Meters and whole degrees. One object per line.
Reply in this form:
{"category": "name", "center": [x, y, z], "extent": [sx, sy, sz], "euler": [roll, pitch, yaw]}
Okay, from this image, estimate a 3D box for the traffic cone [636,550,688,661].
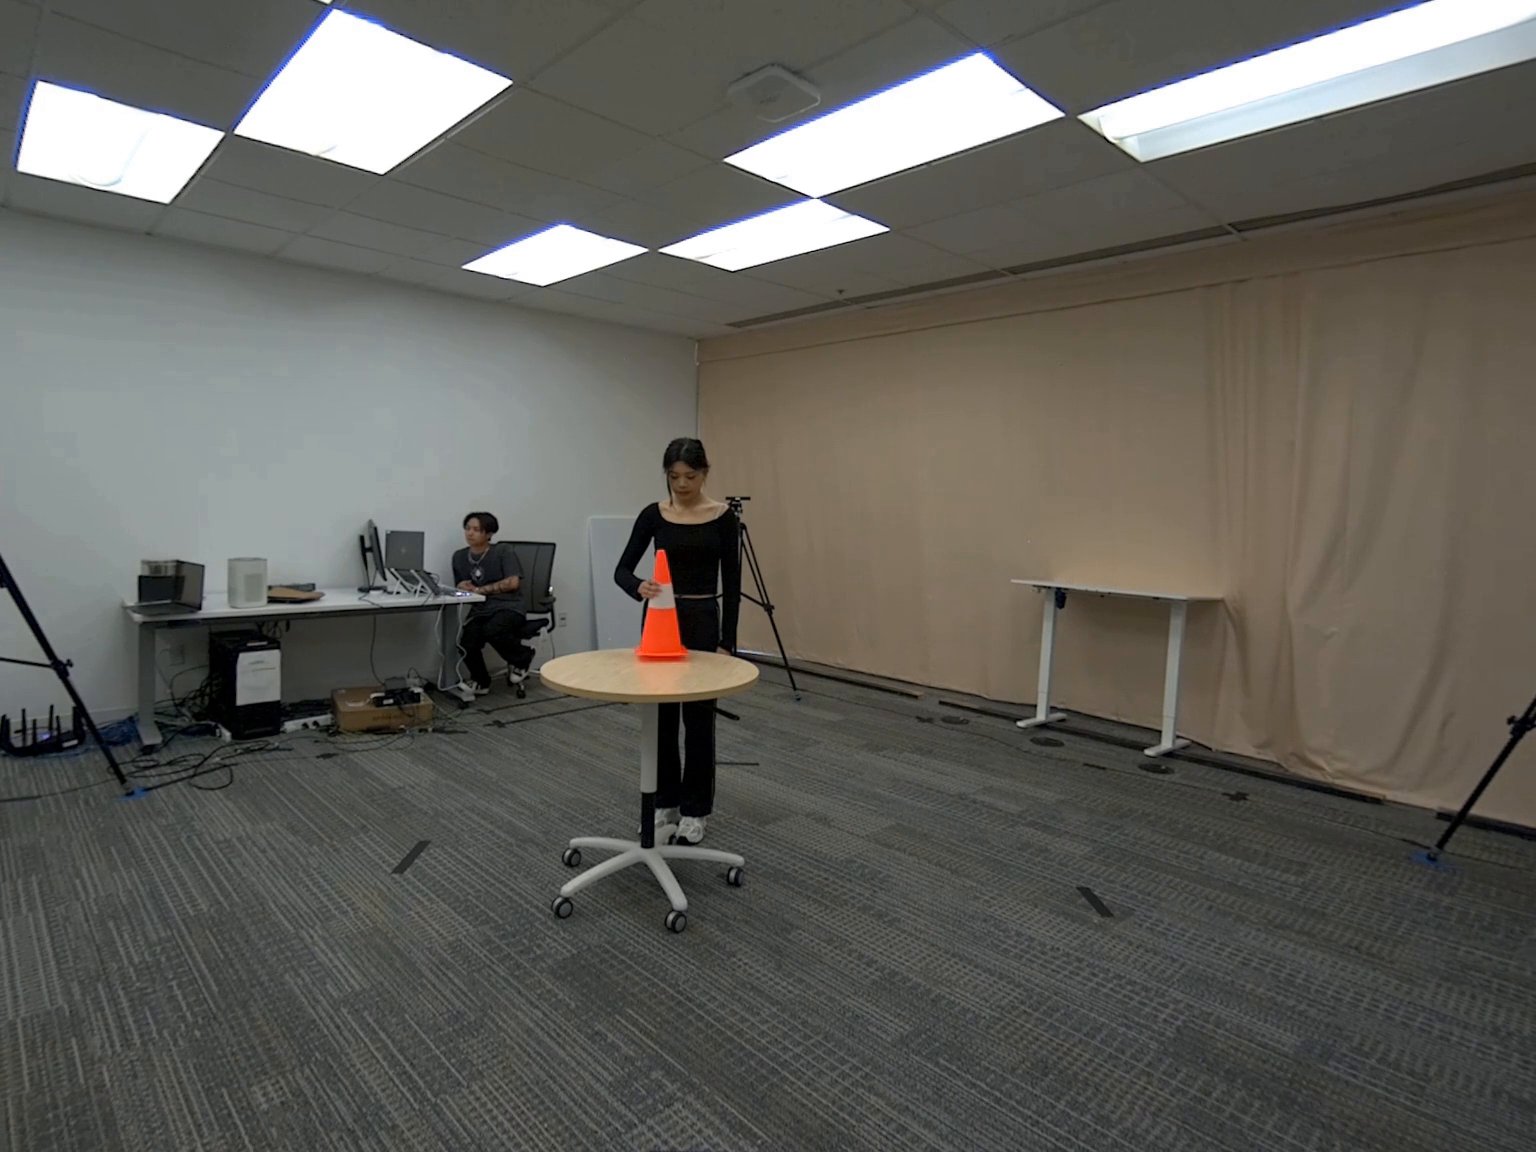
{"category": "traffic cone", "center": [-0.414, 0.096, 3.164], "extent": [0.204, 0.383, 0.204], "euler": [0, 4, -3]}
